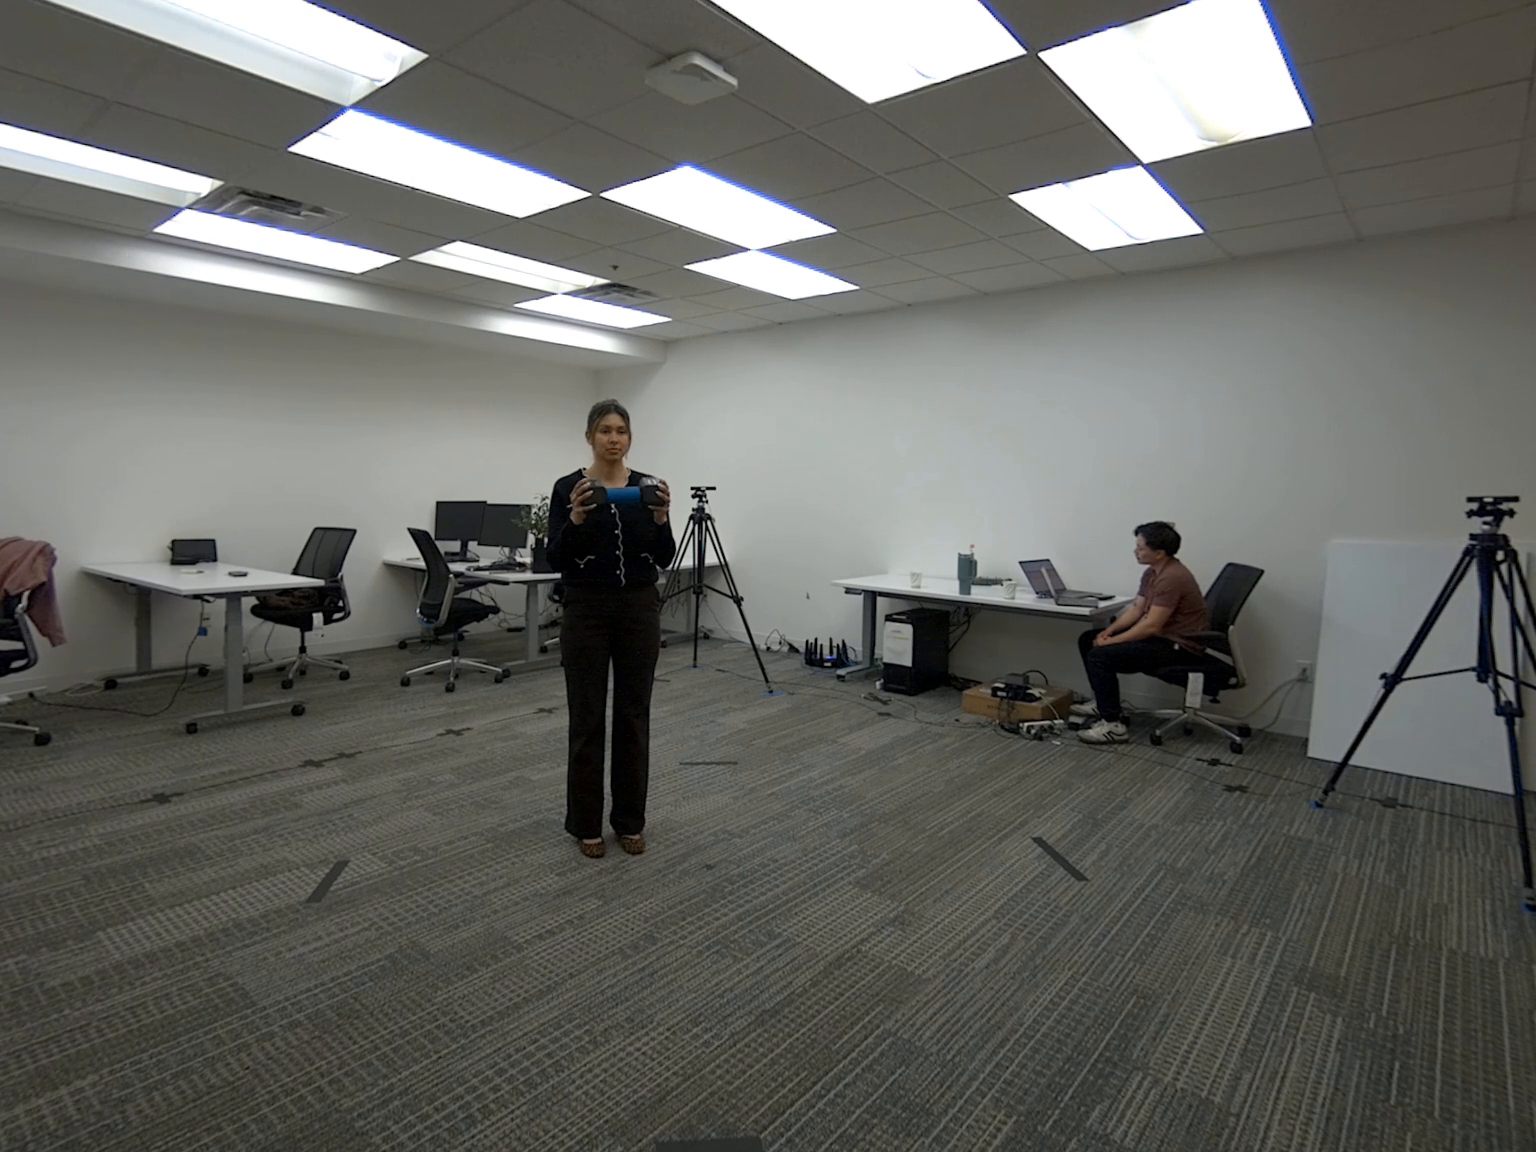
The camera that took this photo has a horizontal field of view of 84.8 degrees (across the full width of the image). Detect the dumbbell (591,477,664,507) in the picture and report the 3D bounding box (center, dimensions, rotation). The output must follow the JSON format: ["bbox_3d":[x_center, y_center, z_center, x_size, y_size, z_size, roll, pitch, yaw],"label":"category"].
[{"bbox_3d":[-0.535,-0.288,3.054,0.290,0.111,0.121,-6,-24,-11],"label":"dumbbell"}]
